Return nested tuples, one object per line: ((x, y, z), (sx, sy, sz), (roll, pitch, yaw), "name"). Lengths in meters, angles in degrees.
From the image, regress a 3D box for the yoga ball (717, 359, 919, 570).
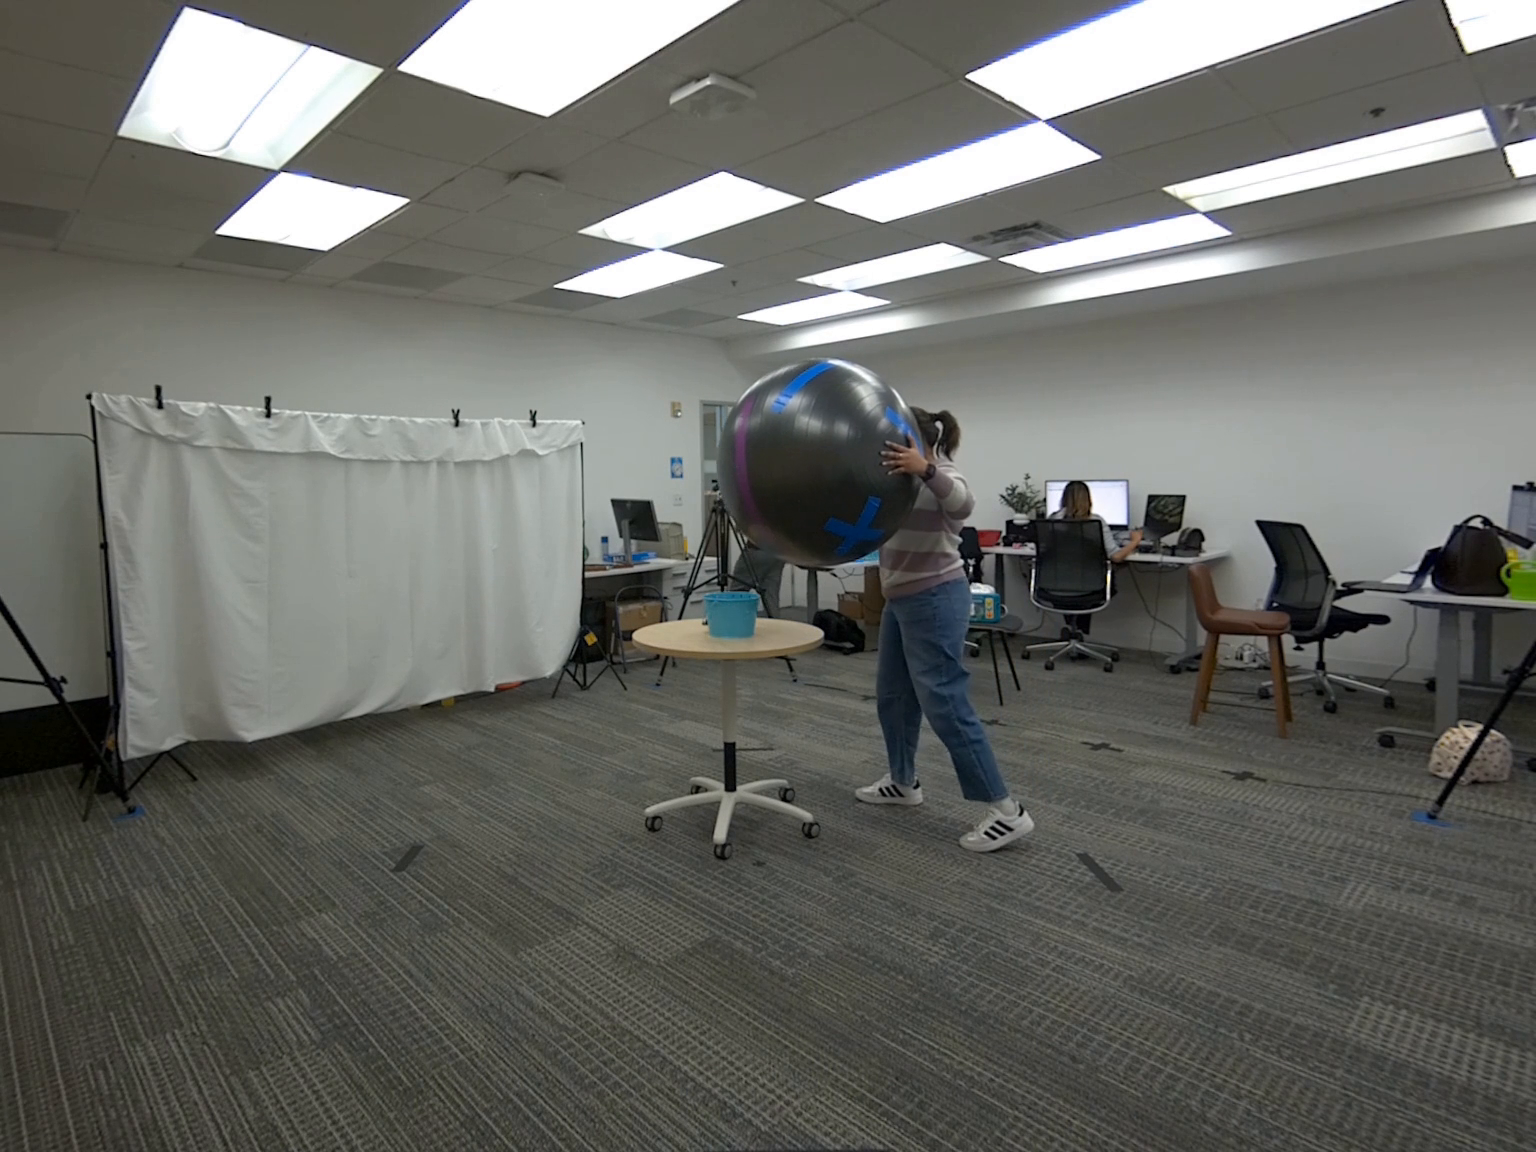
((0.186, -0.406, 3.143), (0.757, 0.755, 0.762), (-1, 5, -2), "yoga ball")
